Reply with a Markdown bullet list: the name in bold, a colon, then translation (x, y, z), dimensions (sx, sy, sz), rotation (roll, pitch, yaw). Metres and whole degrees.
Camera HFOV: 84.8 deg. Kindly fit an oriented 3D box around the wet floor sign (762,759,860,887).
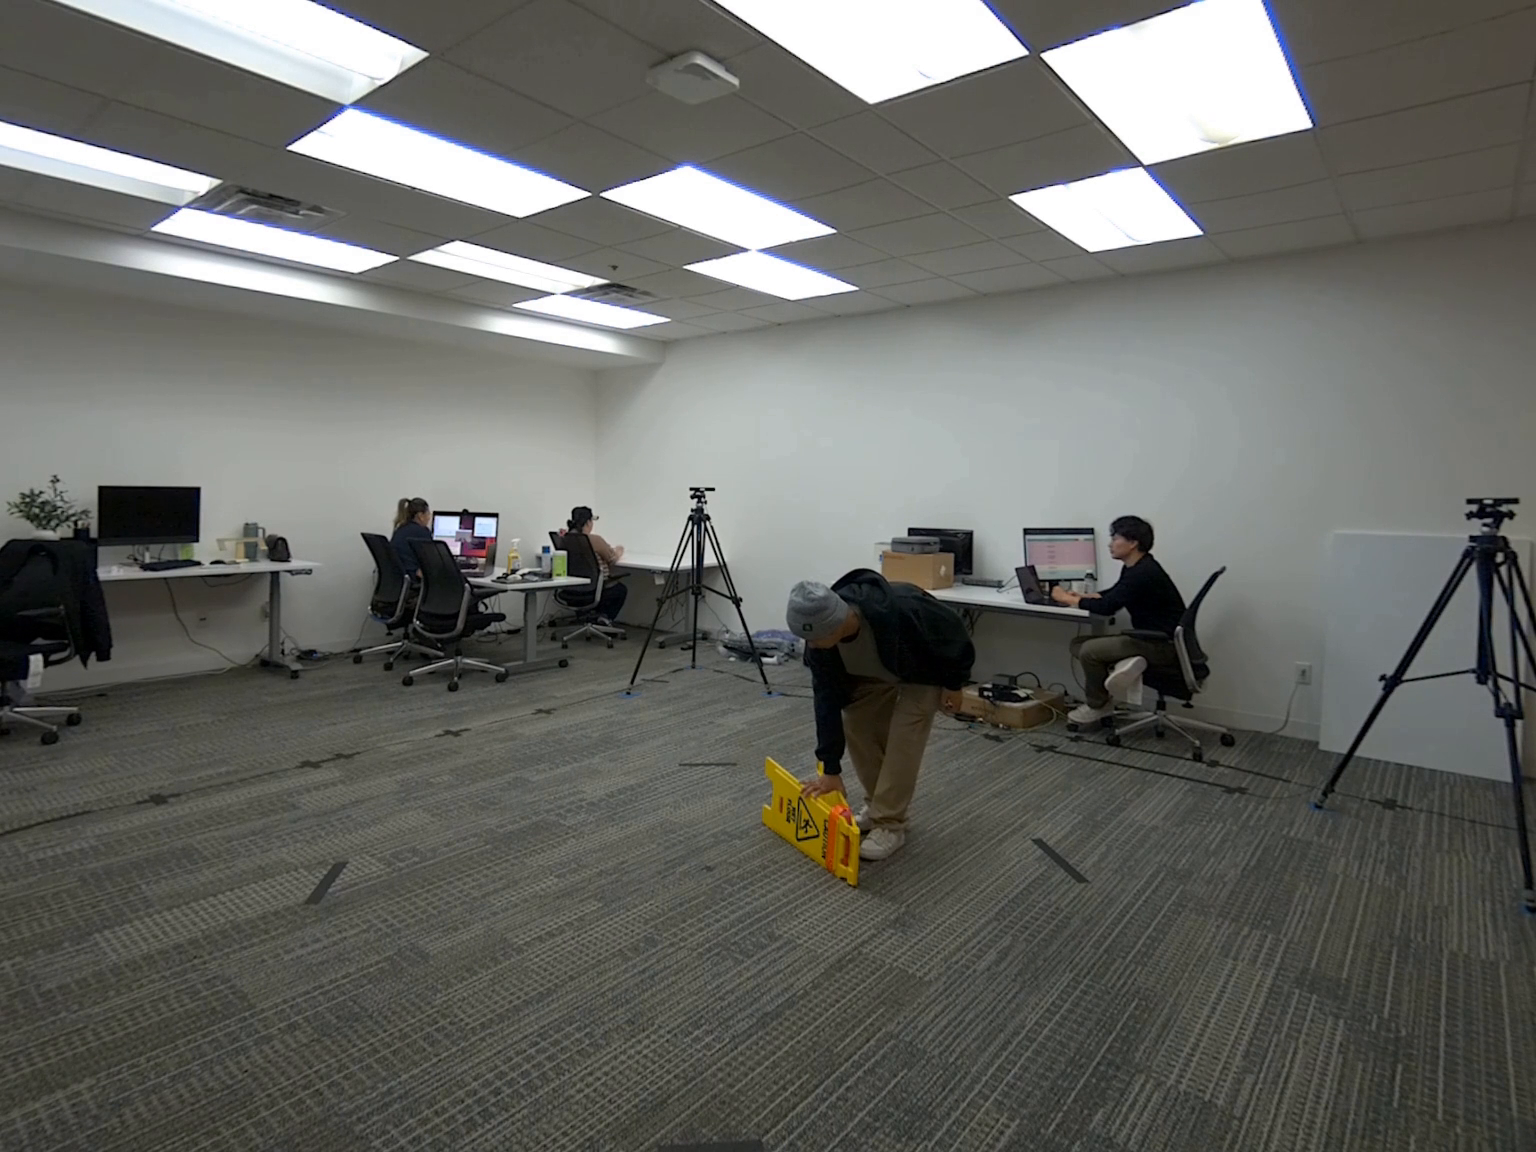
- **wet floor sign**: translation (0.205, 0.932, 3.278), dimensions (0.284, 0.280, 0.662), rotation (0, 9, -18)
